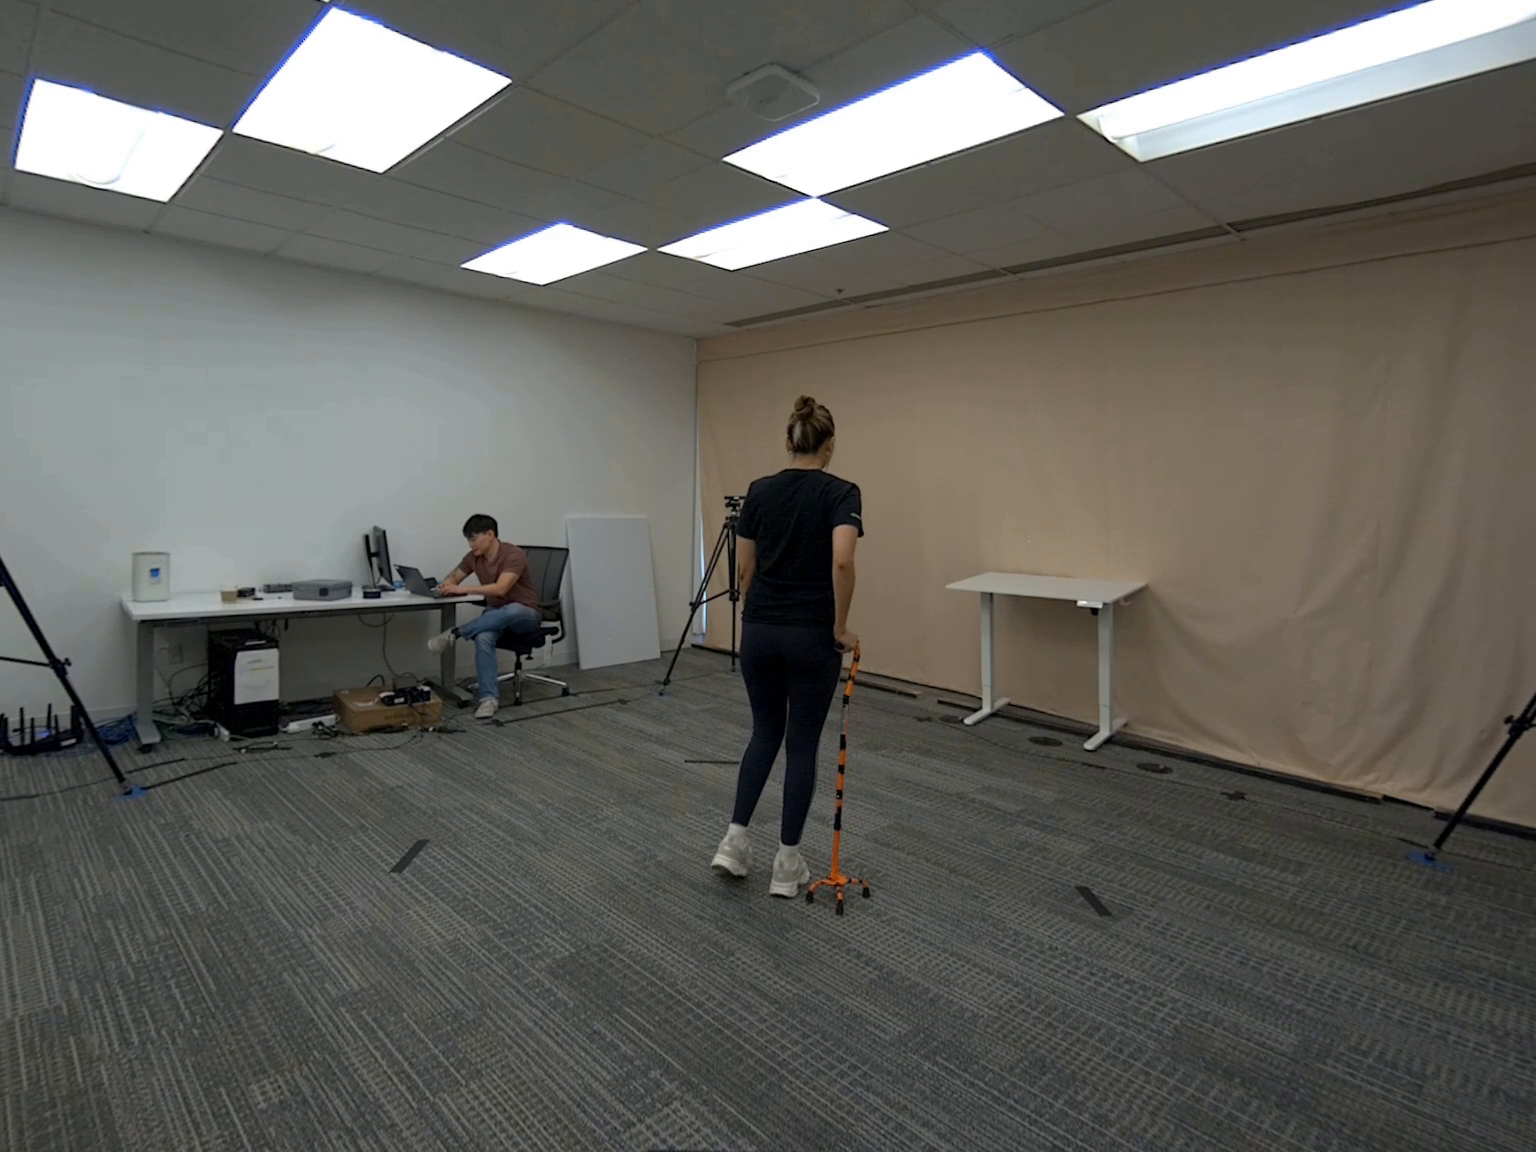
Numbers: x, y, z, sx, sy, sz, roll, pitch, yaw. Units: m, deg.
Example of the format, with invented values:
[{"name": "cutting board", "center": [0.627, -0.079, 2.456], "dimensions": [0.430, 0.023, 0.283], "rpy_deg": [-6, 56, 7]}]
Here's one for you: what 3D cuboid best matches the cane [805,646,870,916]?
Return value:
[{"name": "cane", "center": [0.277, 0.671, 2.926], "dimensions": [0.155, 0.907, 0.202], "rpy_deg": [5, 1, 34]}]
